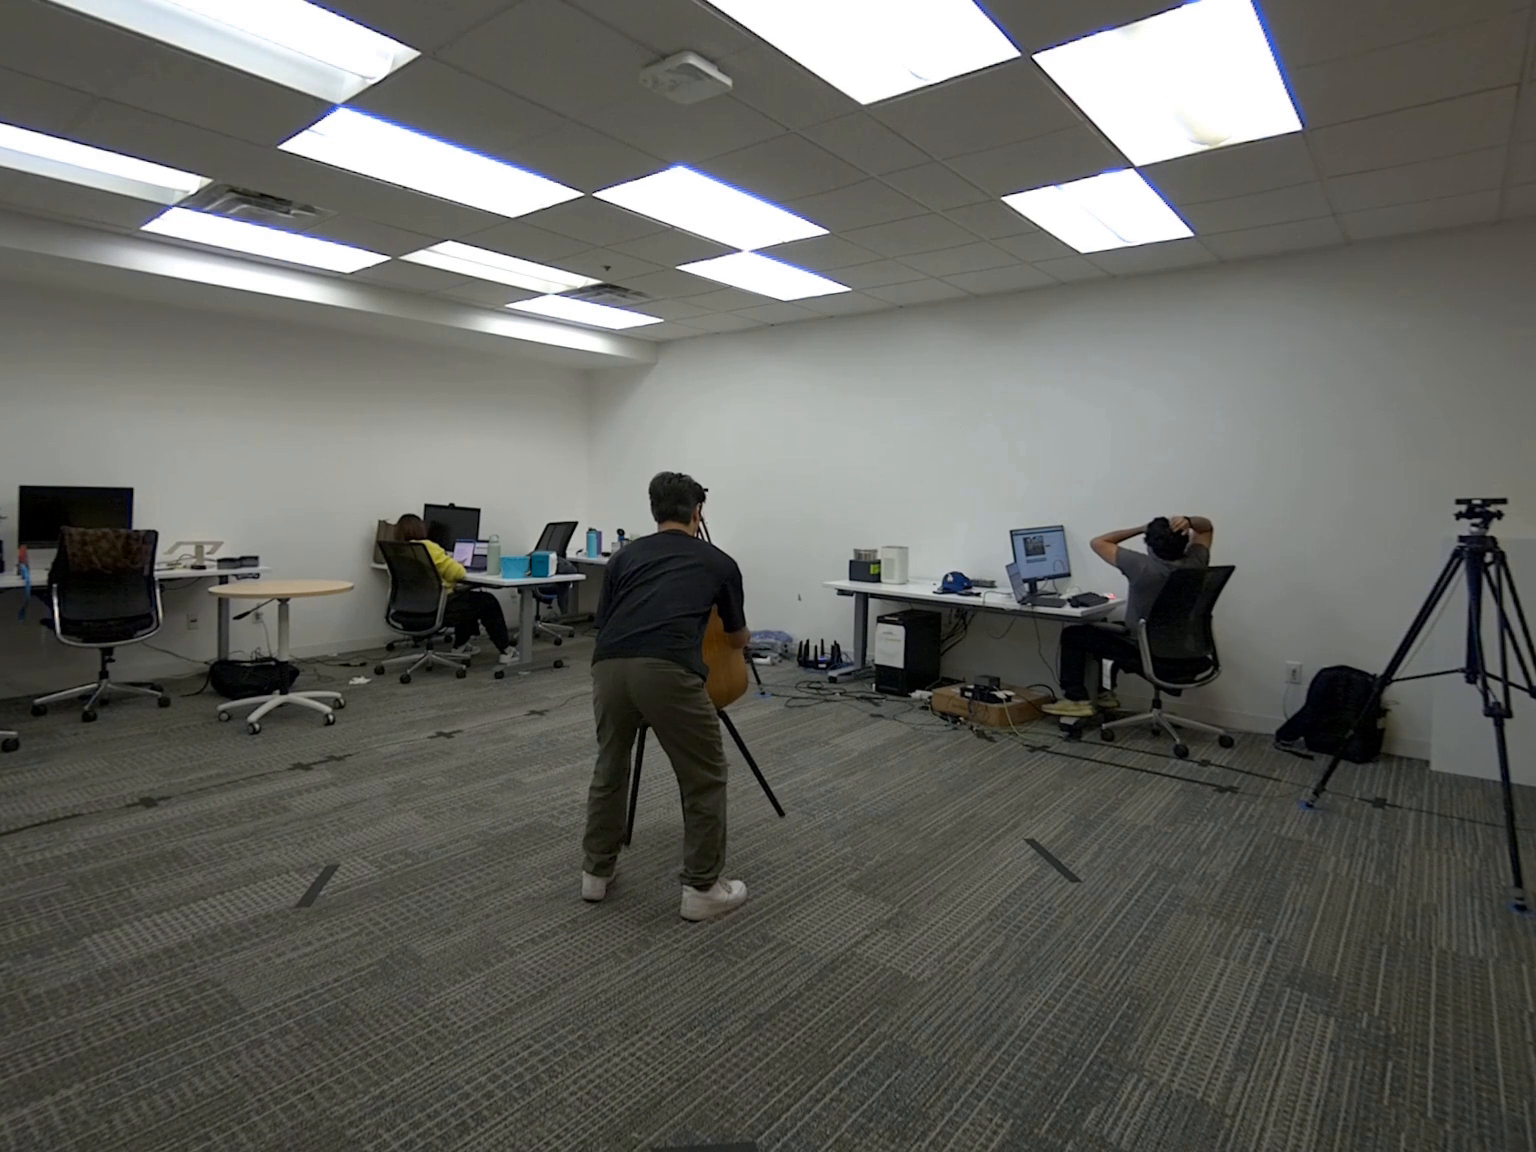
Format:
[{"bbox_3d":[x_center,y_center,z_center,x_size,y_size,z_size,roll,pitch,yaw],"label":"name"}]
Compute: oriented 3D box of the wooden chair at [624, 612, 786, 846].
[{"bbox_3d":[-0.346,0.563,3.345,0.464,0.886,0.533,-2,-11,-39],"label":"wooden chair"}]
